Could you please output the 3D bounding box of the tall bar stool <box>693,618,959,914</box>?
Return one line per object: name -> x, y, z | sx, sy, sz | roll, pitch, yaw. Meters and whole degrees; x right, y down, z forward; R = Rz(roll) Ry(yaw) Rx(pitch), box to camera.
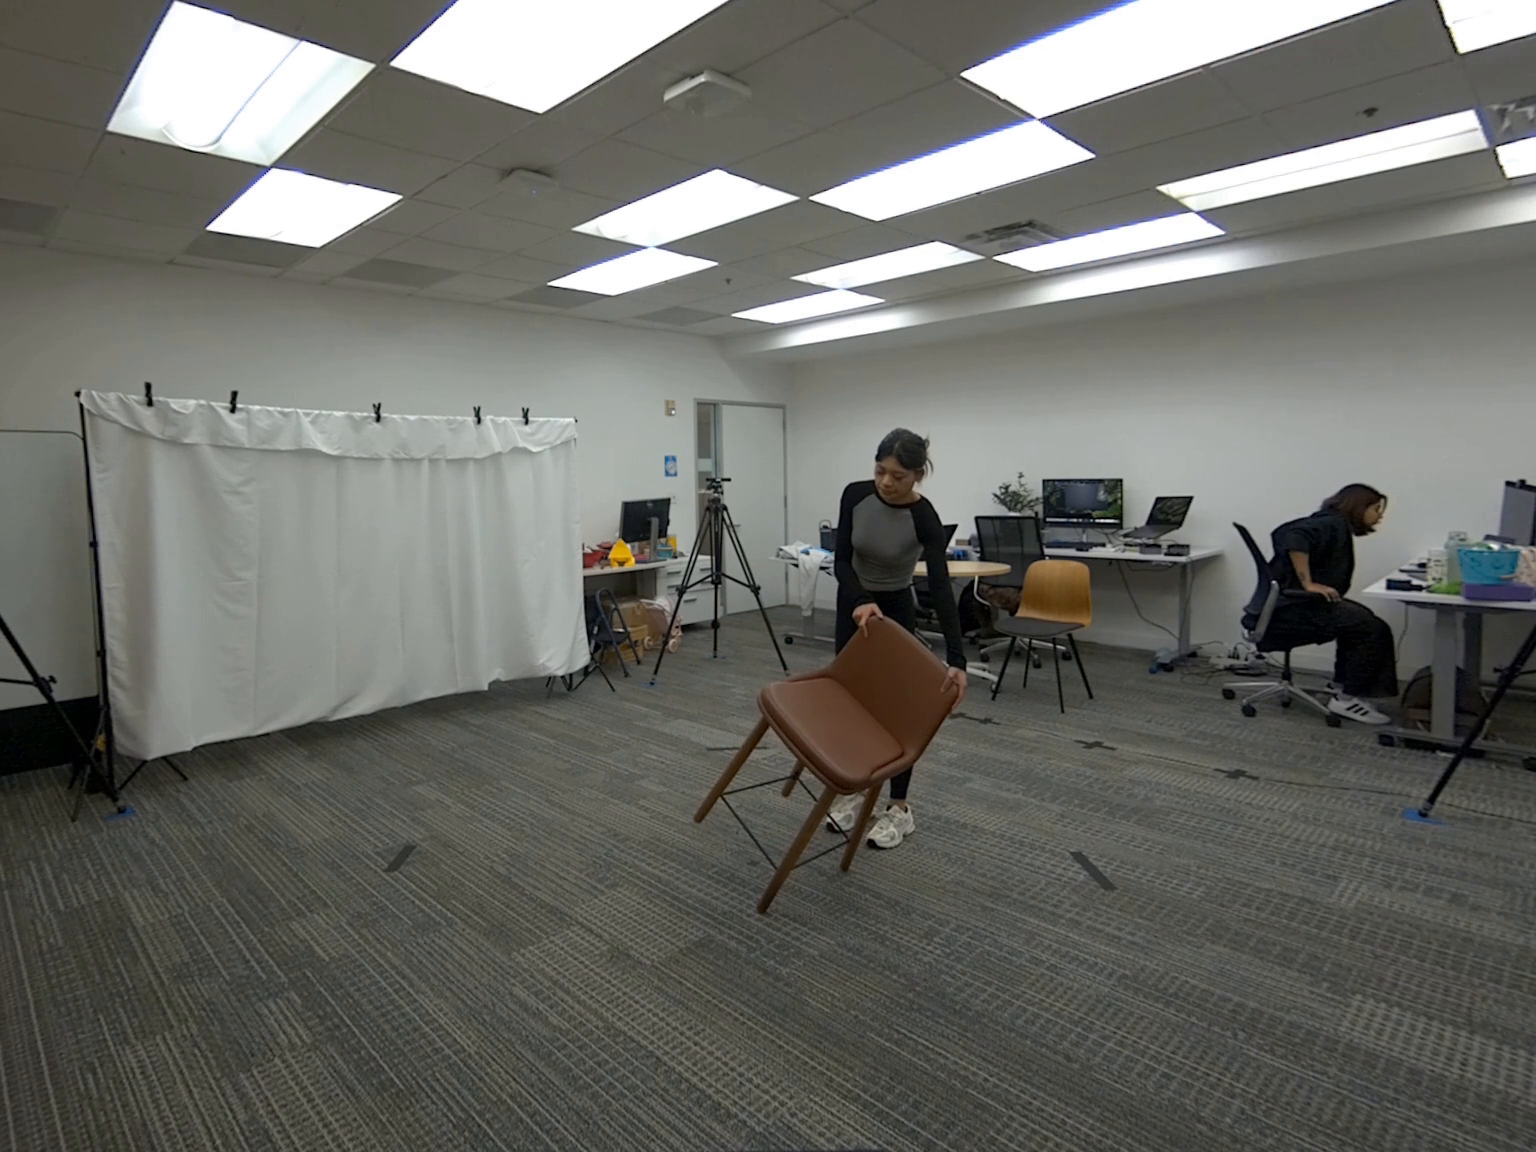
tall bar stool -> 0.185, 0.602, 2.825 | 0.454, 0.881, 0.474 | -1, 35, -44
